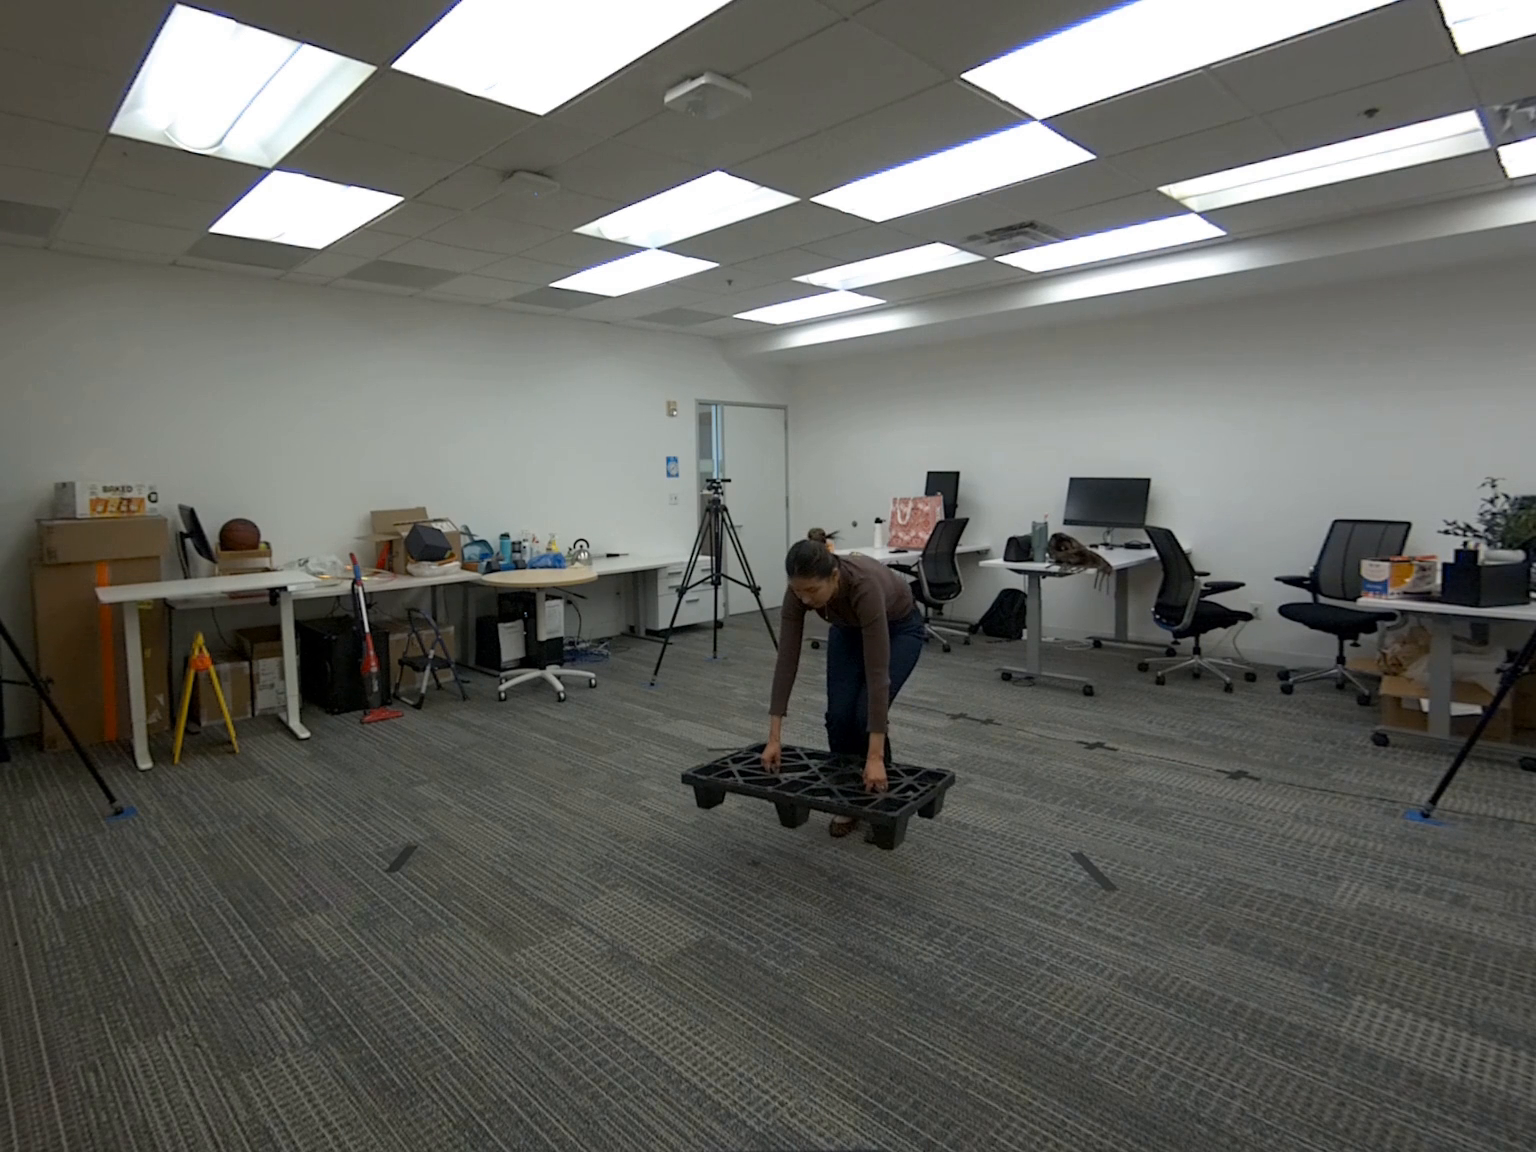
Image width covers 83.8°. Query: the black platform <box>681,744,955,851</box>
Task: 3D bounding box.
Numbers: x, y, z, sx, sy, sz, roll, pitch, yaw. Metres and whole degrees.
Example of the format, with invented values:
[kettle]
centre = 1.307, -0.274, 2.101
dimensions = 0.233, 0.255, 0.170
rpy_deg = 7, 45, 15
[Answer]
[black platform]
centre = 0.184, 0.762, 3.022
dimensions = 0.827, 0.143, 0.589
rpy_deg = 2, 3, 32
